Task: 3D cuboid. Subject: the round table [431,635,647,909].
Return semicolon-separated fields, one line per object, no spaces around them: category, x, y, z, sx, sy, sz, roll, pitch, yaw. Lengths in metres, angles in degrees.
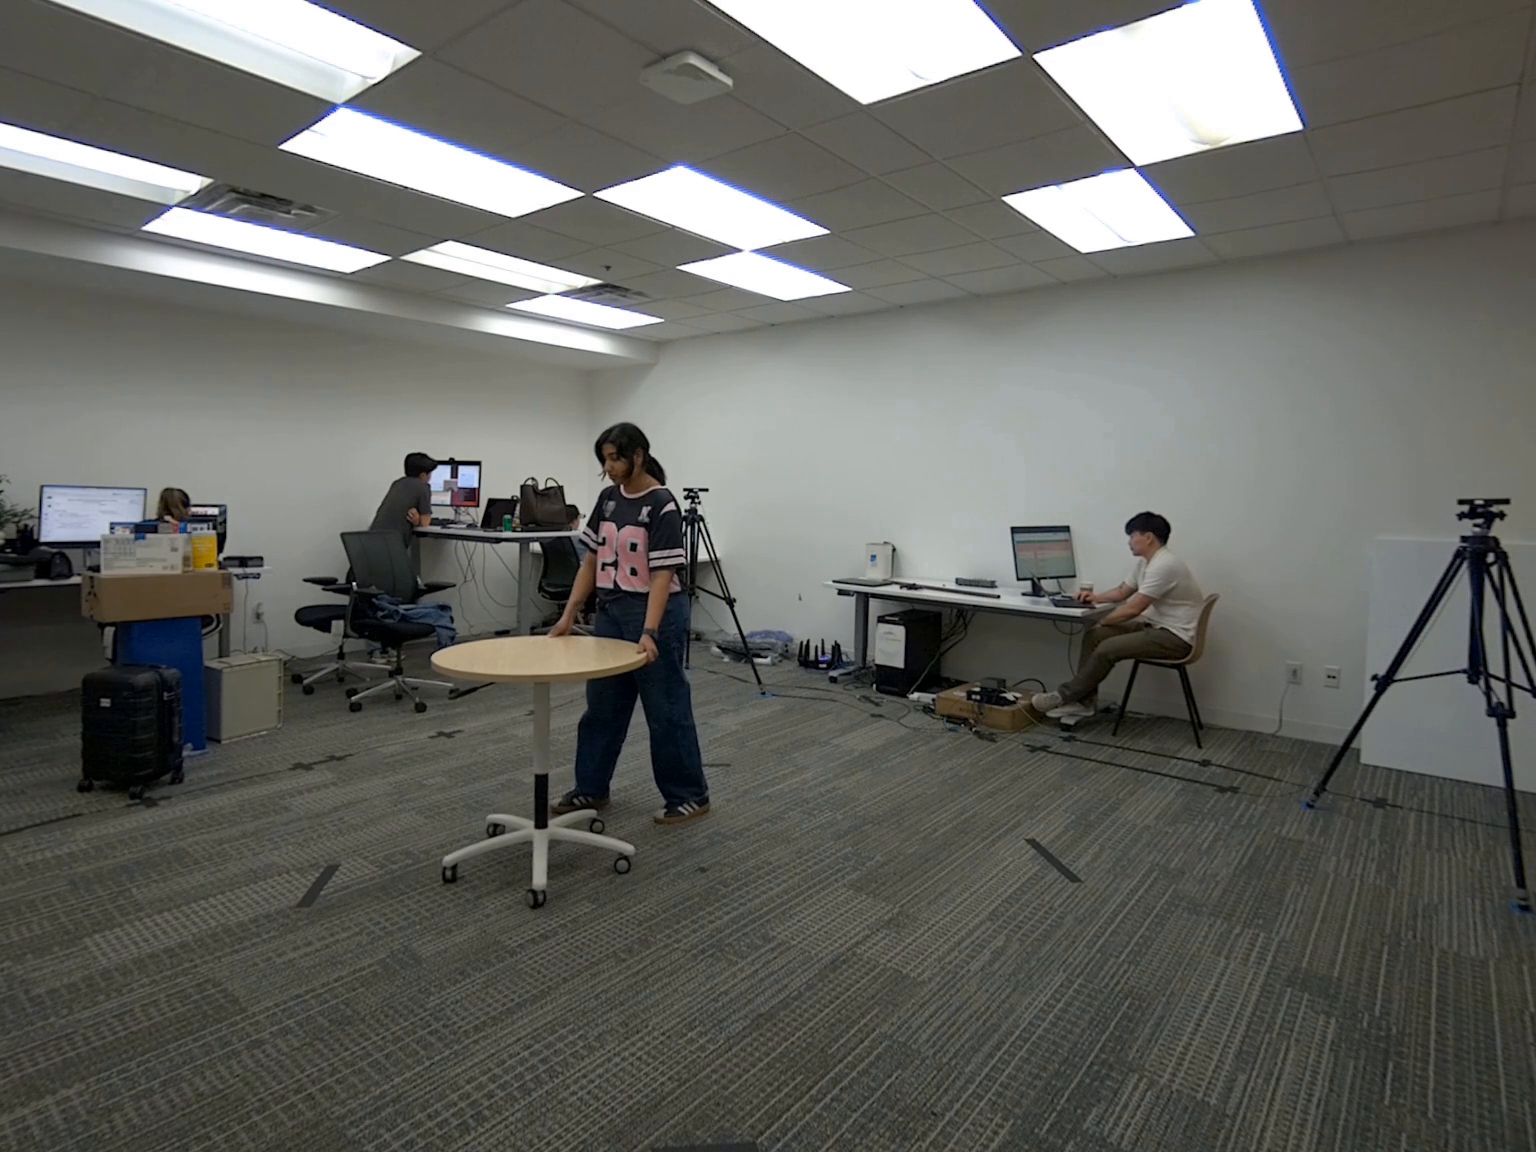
round table;-0.821;0.664;3.101;0.784;0.784;0.789;1;4;-2
